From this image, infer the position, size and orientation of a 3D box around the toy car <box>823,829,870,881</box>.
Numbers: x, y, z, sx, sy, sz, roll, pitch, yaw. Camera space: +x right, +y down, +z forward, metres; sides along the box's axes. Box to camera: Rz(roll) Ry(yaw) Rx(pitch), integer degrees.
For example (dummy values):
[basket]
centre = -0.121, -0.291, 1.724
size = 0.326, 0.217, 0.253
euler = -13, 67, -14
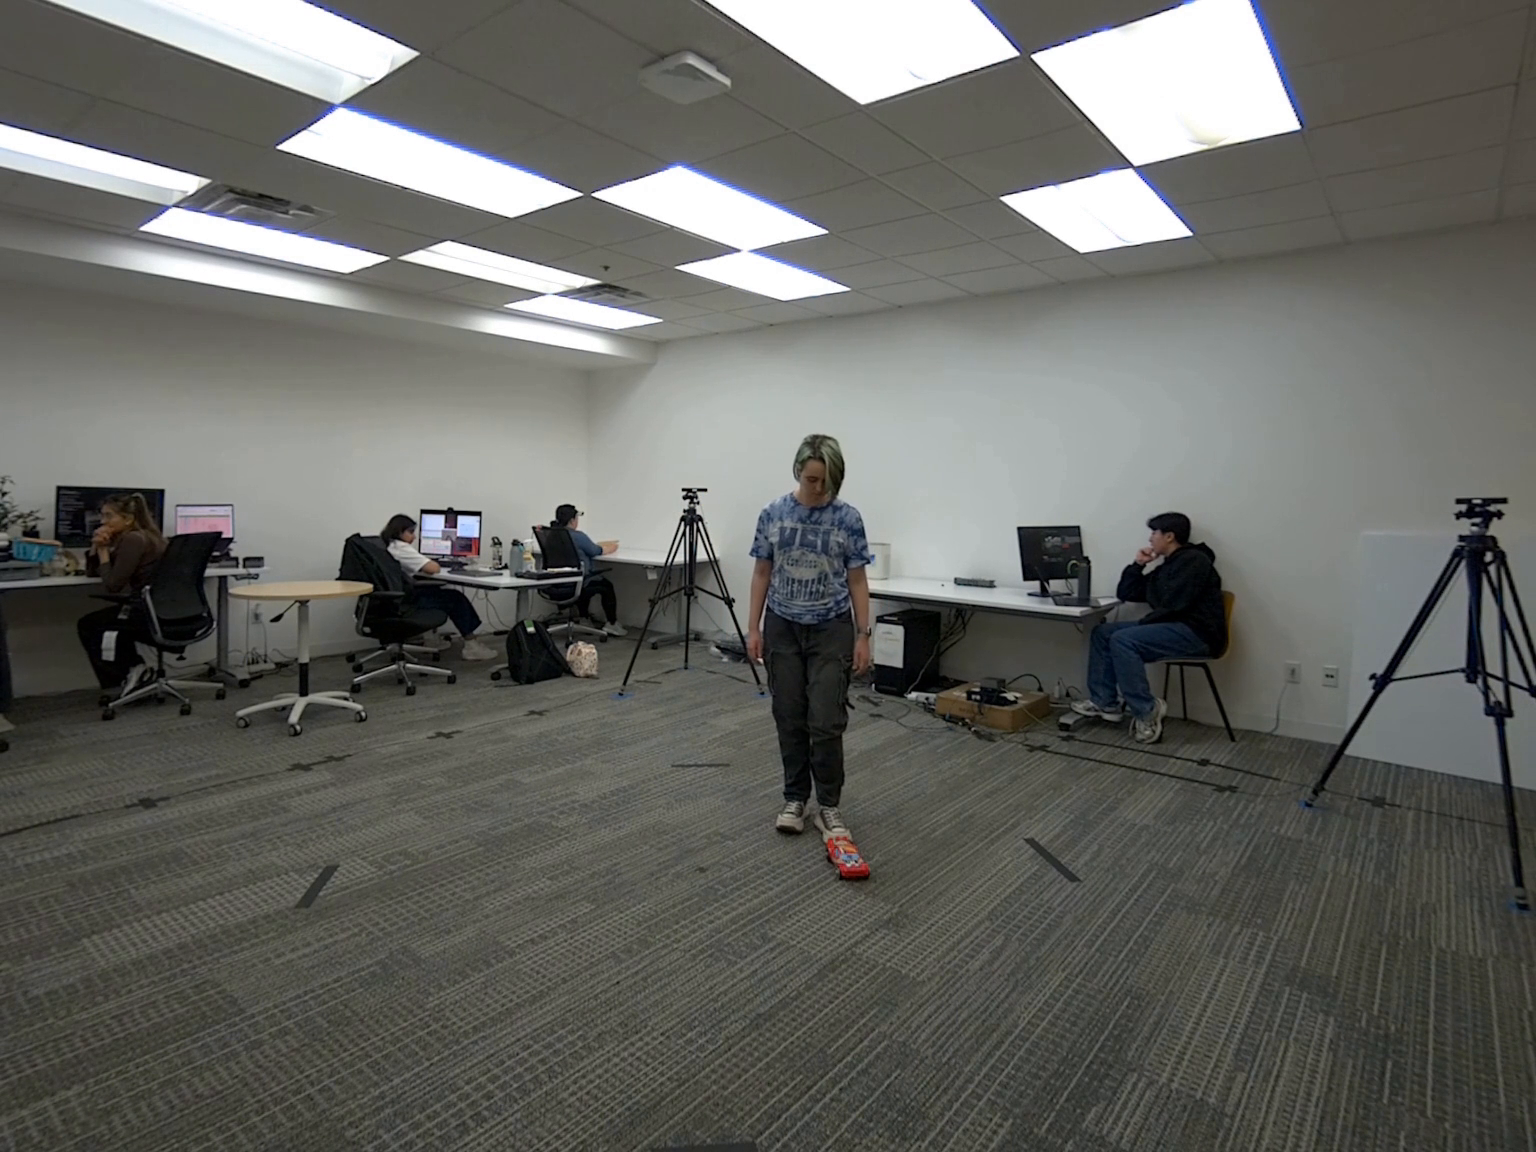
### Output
[toy car]
centre = 0.288, 1.045, 3.159
size = 0.129, 0.082, 0.260
euler = -1, 18, -9
